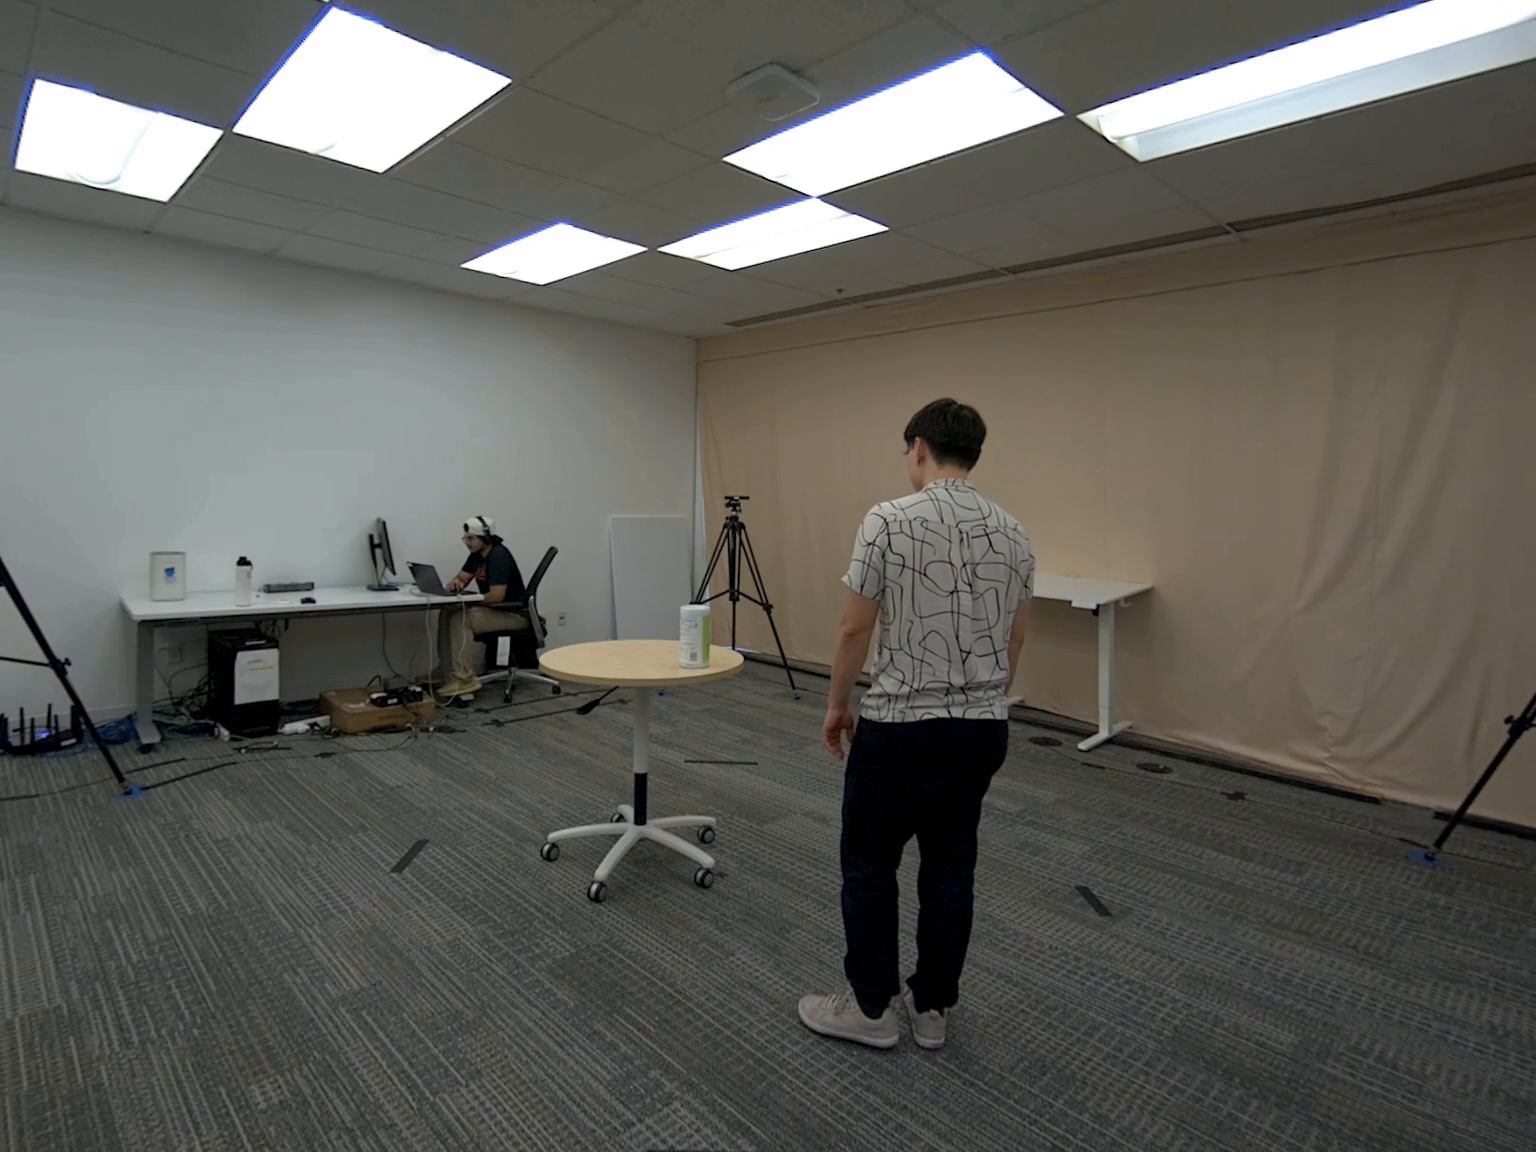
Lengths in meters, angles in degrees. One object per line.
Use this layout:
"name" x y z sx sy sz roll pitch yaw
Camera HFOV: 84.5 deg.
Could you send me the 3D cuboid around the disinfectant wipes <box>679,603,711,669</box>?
"disinfectant wipes" -0.268 0.218 3.028 0.118 0.217 0.118 2 3 -2
